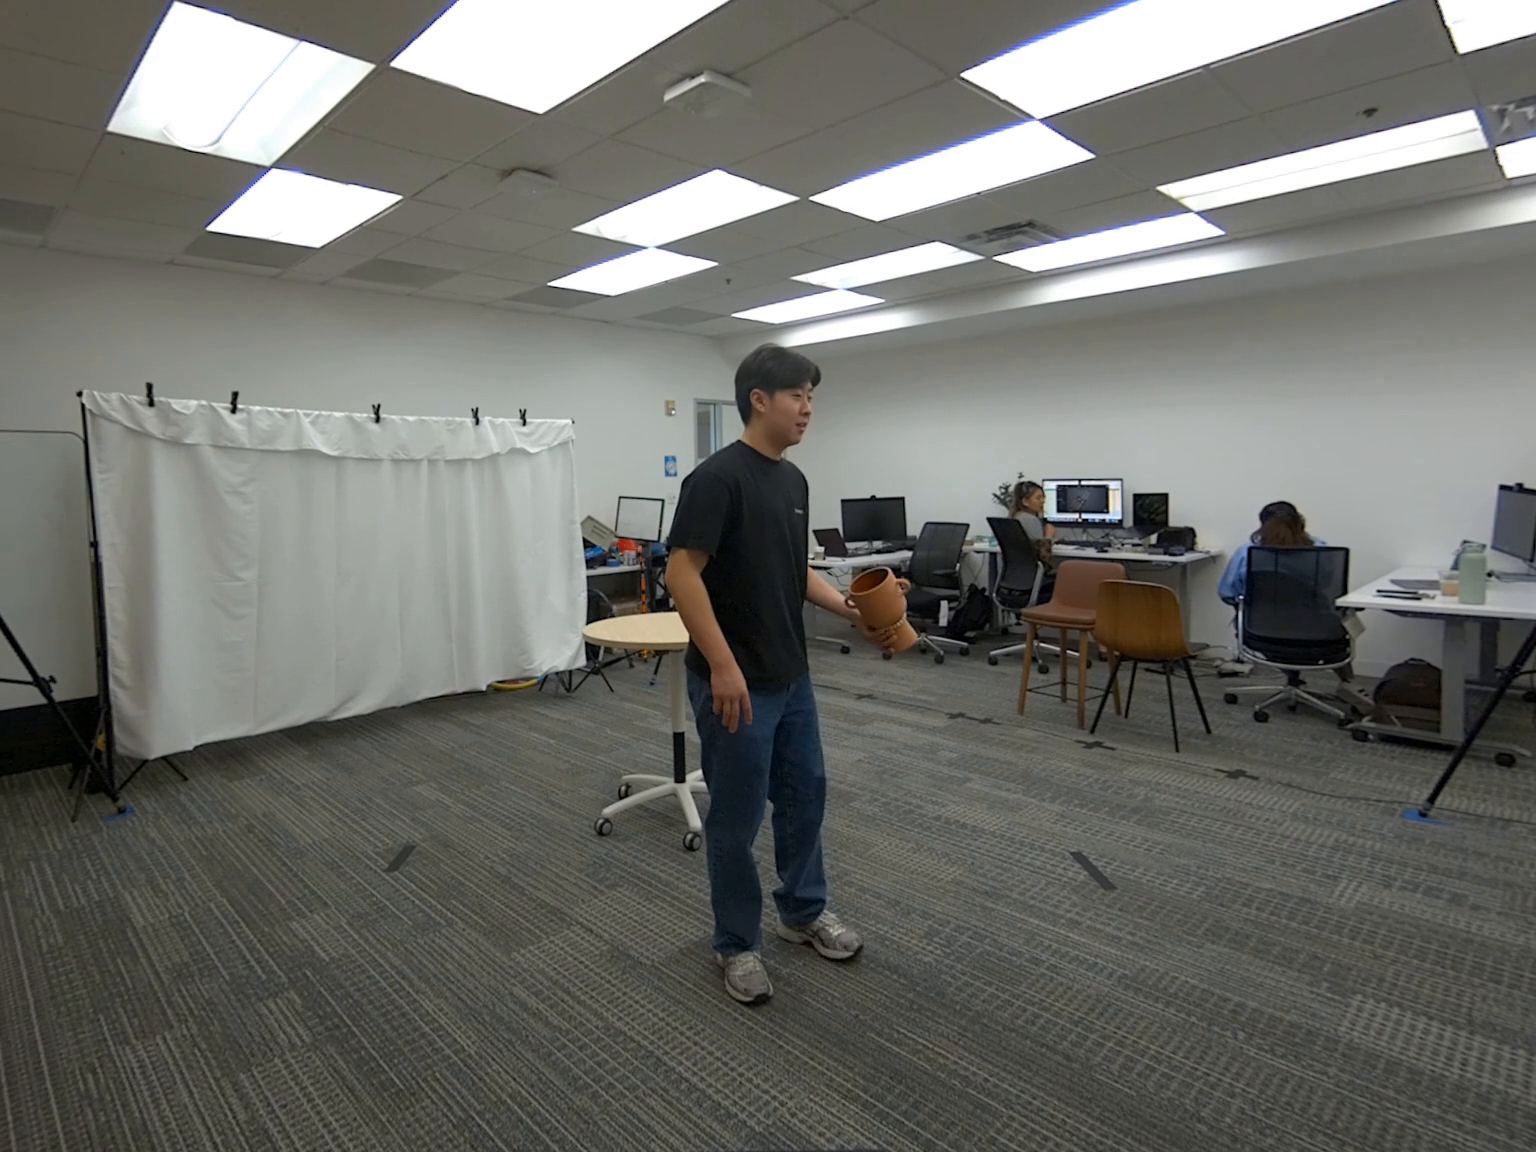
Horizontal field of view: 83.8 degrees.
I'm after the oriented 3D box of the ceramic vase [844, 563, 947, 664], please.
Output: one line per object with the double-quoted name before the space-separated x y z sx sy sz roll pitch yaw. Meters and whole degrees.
"ceramic vase" 0.353 0.100 2.394 0.134 0.214 0.163 -39 23 -20
